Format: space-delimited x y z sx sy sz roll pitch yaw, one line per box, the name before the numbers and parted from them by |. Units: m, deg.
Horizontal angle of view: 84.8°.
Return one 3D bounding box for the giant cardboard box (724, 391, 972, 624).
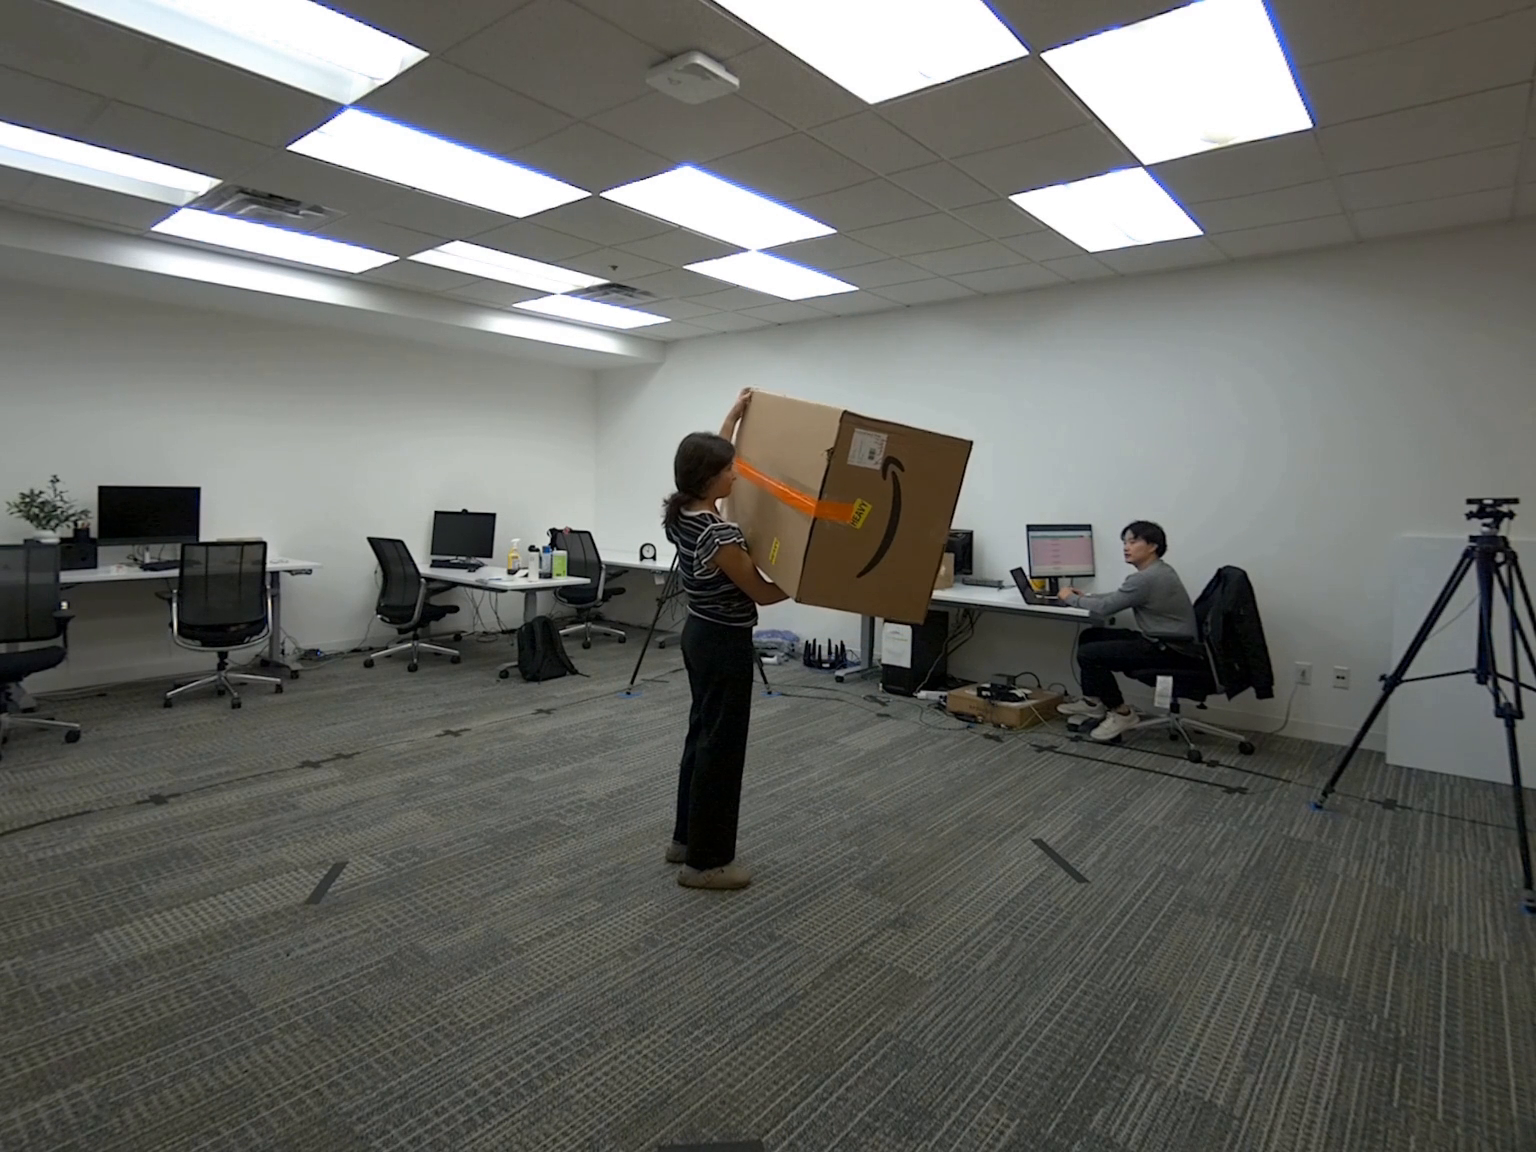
giant cardboard box | 0.180 -0.302 2.958 0.418 0.573 1.054 10 11 -19
